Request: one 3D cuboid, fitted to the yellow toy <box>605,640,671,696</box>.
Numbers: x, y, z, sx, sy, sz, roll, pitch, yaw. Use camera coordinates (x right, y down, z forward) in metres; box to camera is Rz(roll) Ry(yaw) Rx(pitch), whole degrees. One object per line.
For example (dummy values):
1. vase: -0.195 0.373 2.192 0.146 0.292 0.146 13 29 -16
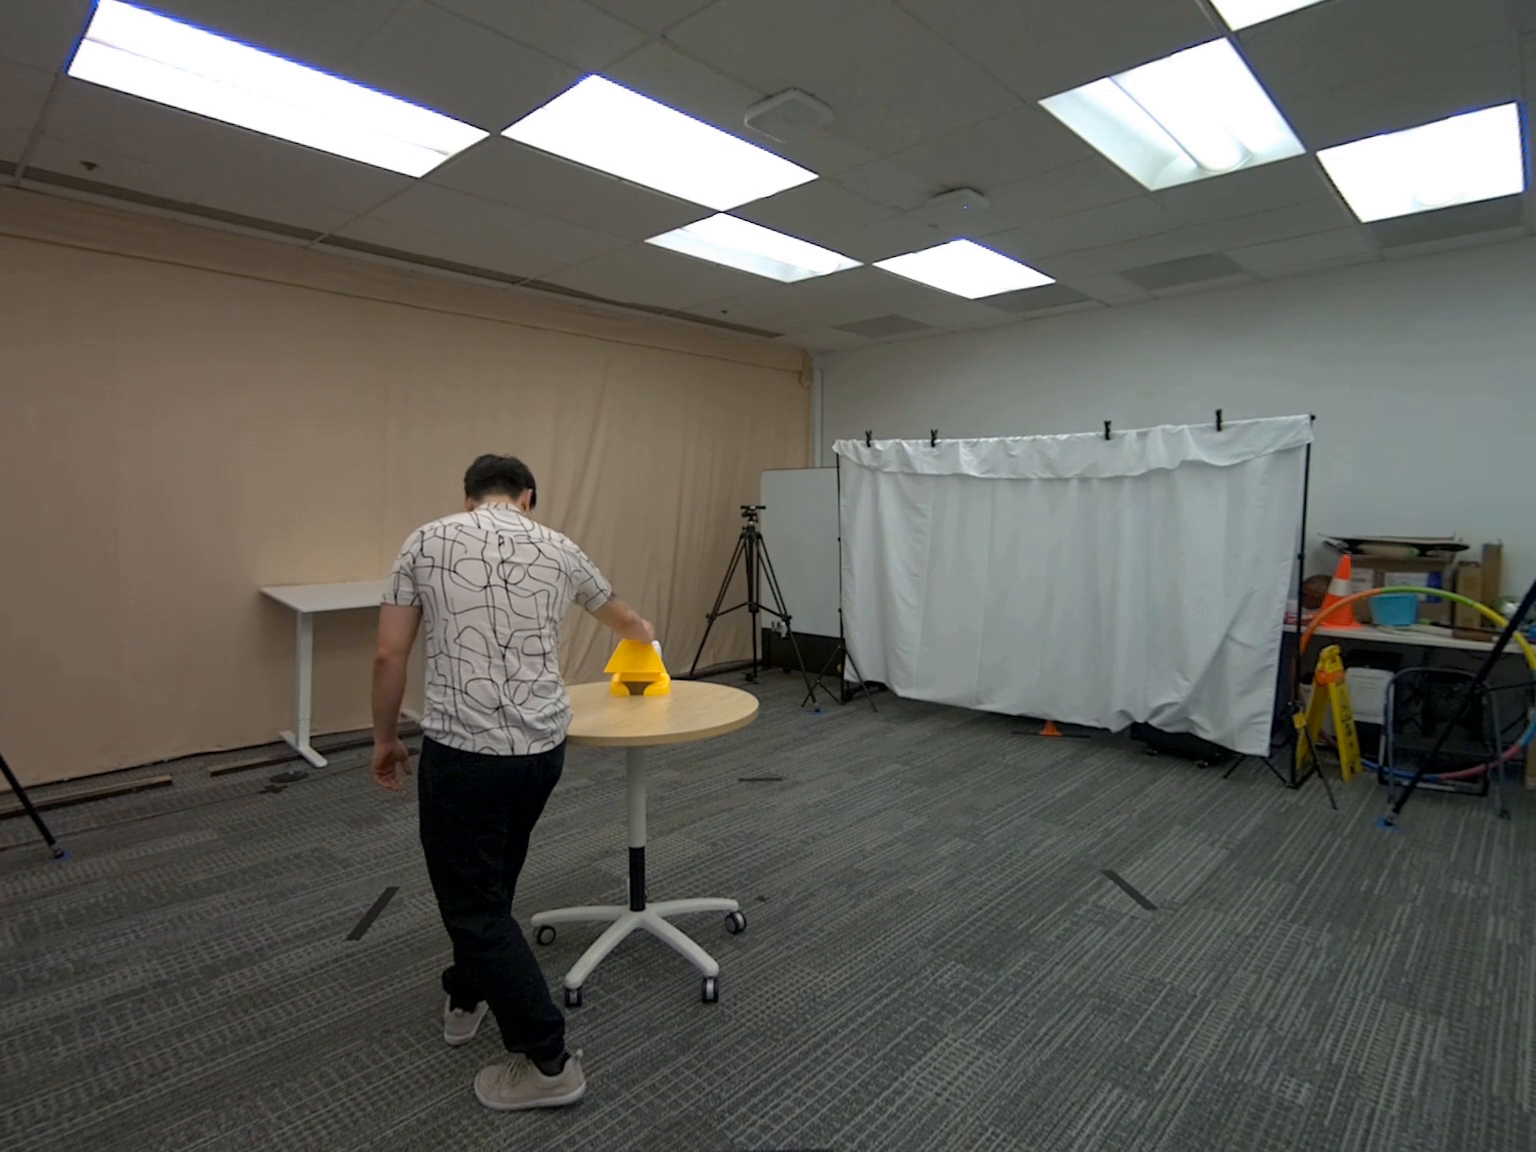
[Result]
1. yellow toy: -0.425 0.269 2.787 0.206 0.230 0.192 0 4 4
